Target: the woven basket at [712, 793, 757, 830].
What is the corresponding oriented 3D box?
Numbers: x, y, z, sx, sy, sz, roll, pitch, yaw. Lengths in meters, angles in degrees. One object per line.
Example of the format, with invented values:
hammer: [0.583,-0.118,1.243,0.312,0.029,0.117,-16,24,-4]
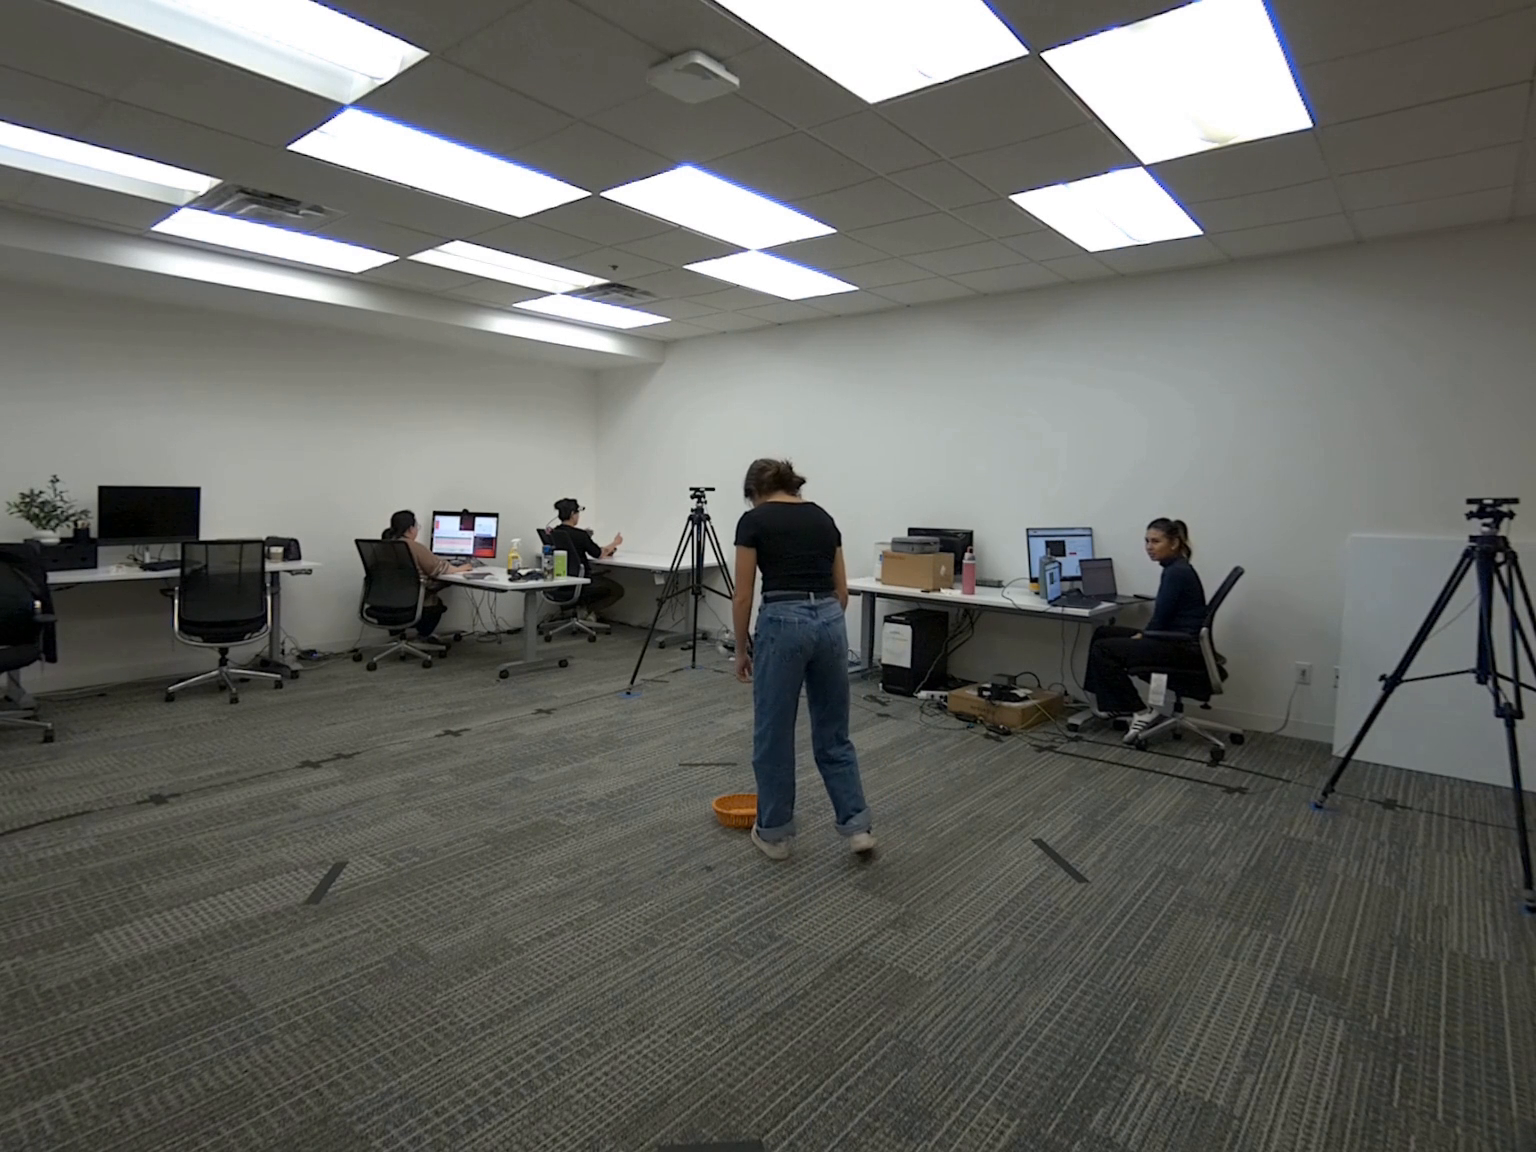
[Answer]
woven basket: [-0.079,0.986,3.583,0.347,0.073,0.256,0,4,-10]
